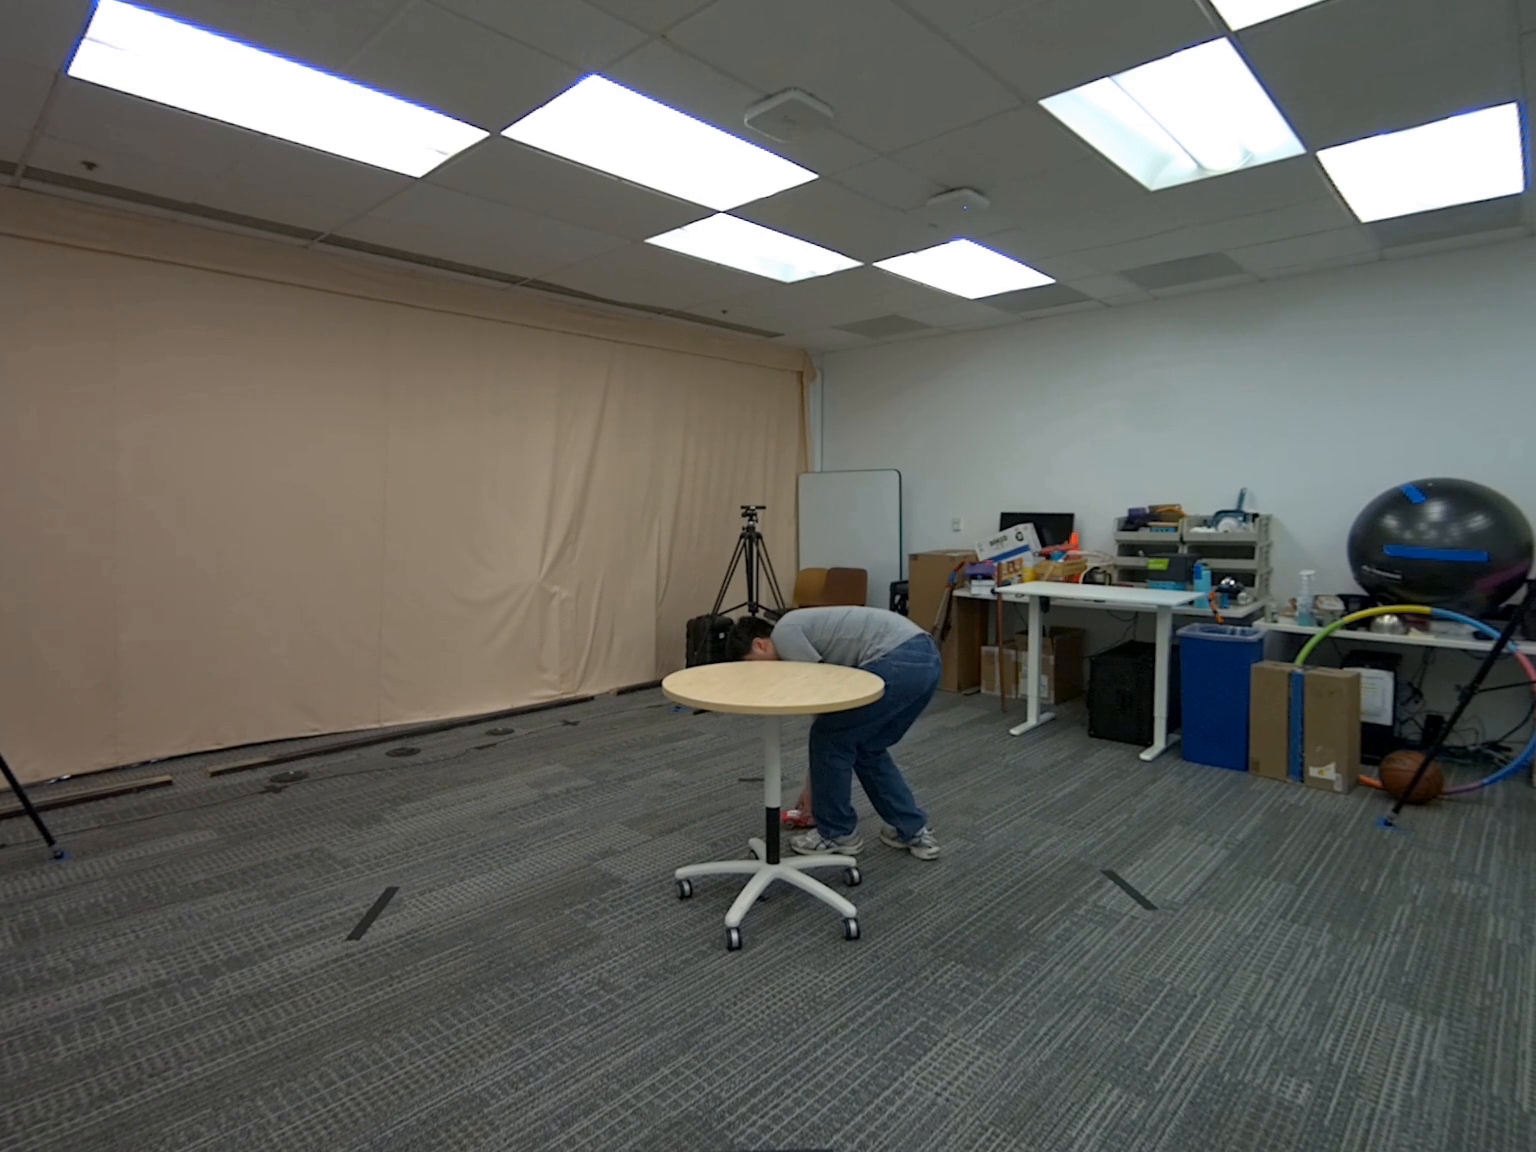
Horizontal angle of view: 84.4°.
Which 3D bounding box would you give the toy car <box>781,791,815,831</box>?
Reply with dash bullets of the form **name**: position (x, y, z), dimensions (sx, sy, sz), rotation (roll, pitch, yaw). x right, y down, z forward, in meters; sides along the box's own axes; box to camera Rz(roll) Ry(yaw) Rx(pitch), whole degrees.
- **toy car**: position (0.185, 1.049, 3.653), dimensions (0.255, 0.083, 0.130), rotation (-11, 4, 1)
